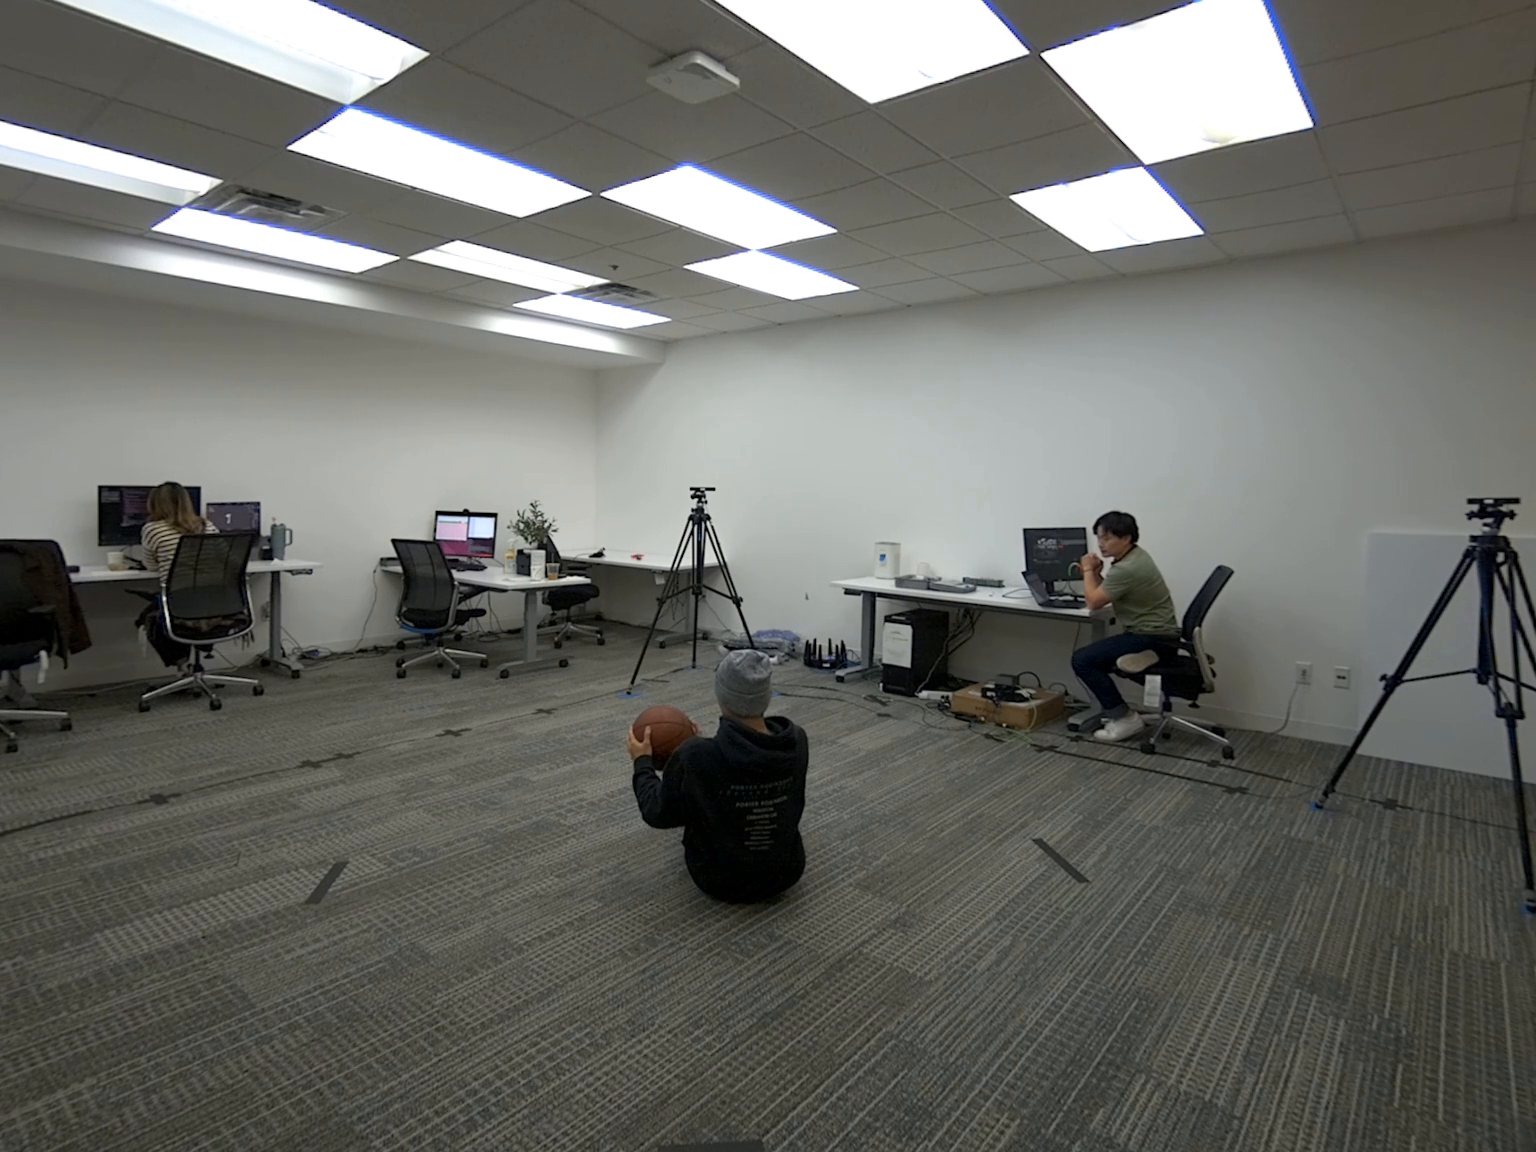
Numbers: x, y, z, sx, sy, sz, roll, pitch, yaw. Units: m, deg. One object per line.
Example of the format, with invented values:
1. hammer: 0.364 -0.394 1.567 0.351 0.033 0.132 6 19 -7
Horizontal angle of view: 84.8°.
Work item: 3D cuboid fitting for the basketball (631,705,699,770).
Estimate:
1. basketball: -0.396 0.596 3.153 0.235 0.235 0.237 1 4 -2
